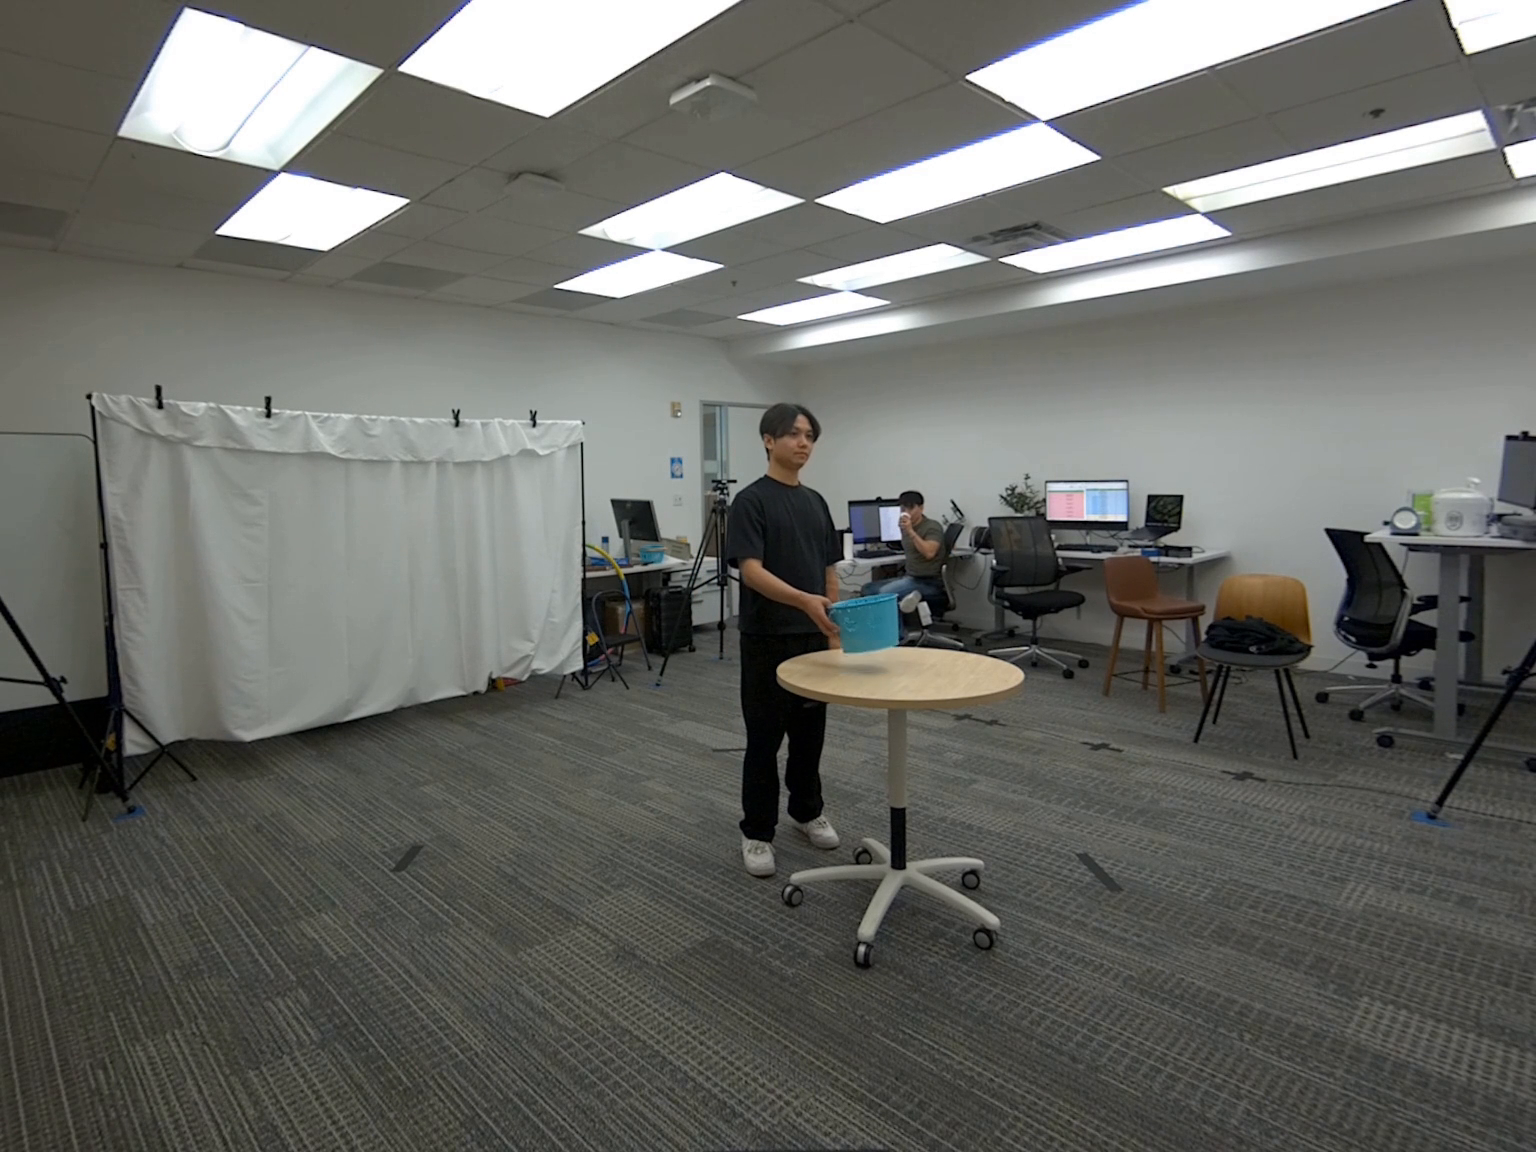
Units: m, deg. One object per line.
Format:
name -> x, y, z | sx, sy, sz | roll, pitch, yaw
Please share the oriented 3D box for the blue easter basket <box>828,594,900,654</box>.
blue easter basket -> 0.314, 0.156, 2.736 | 0.243, 0.156, 0.244 | -9, 1, -2
